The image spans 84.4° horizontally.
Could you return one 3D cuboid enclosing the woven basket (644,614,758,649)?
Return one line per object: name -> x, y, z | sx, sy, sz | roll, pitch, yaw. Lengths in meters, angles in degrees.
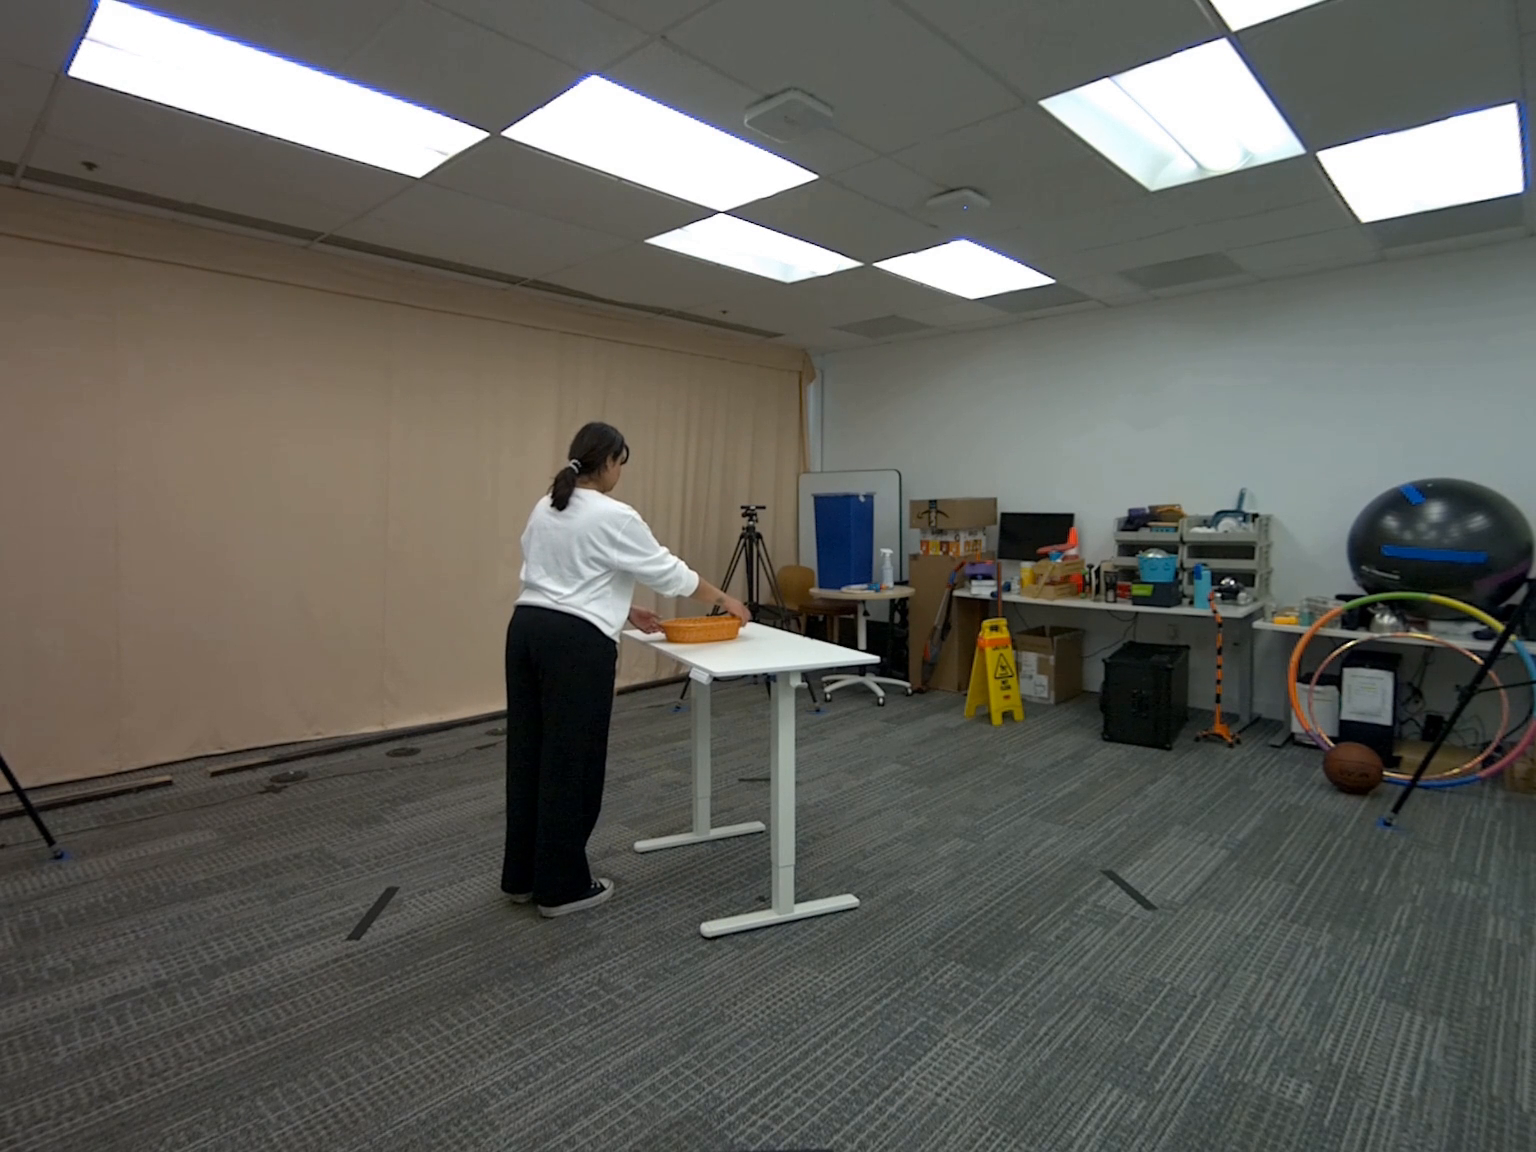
woven basket -> -0.260, 0.206, 3.227 | 0.341, 0.073, 0.260 | -4, 4, -31
